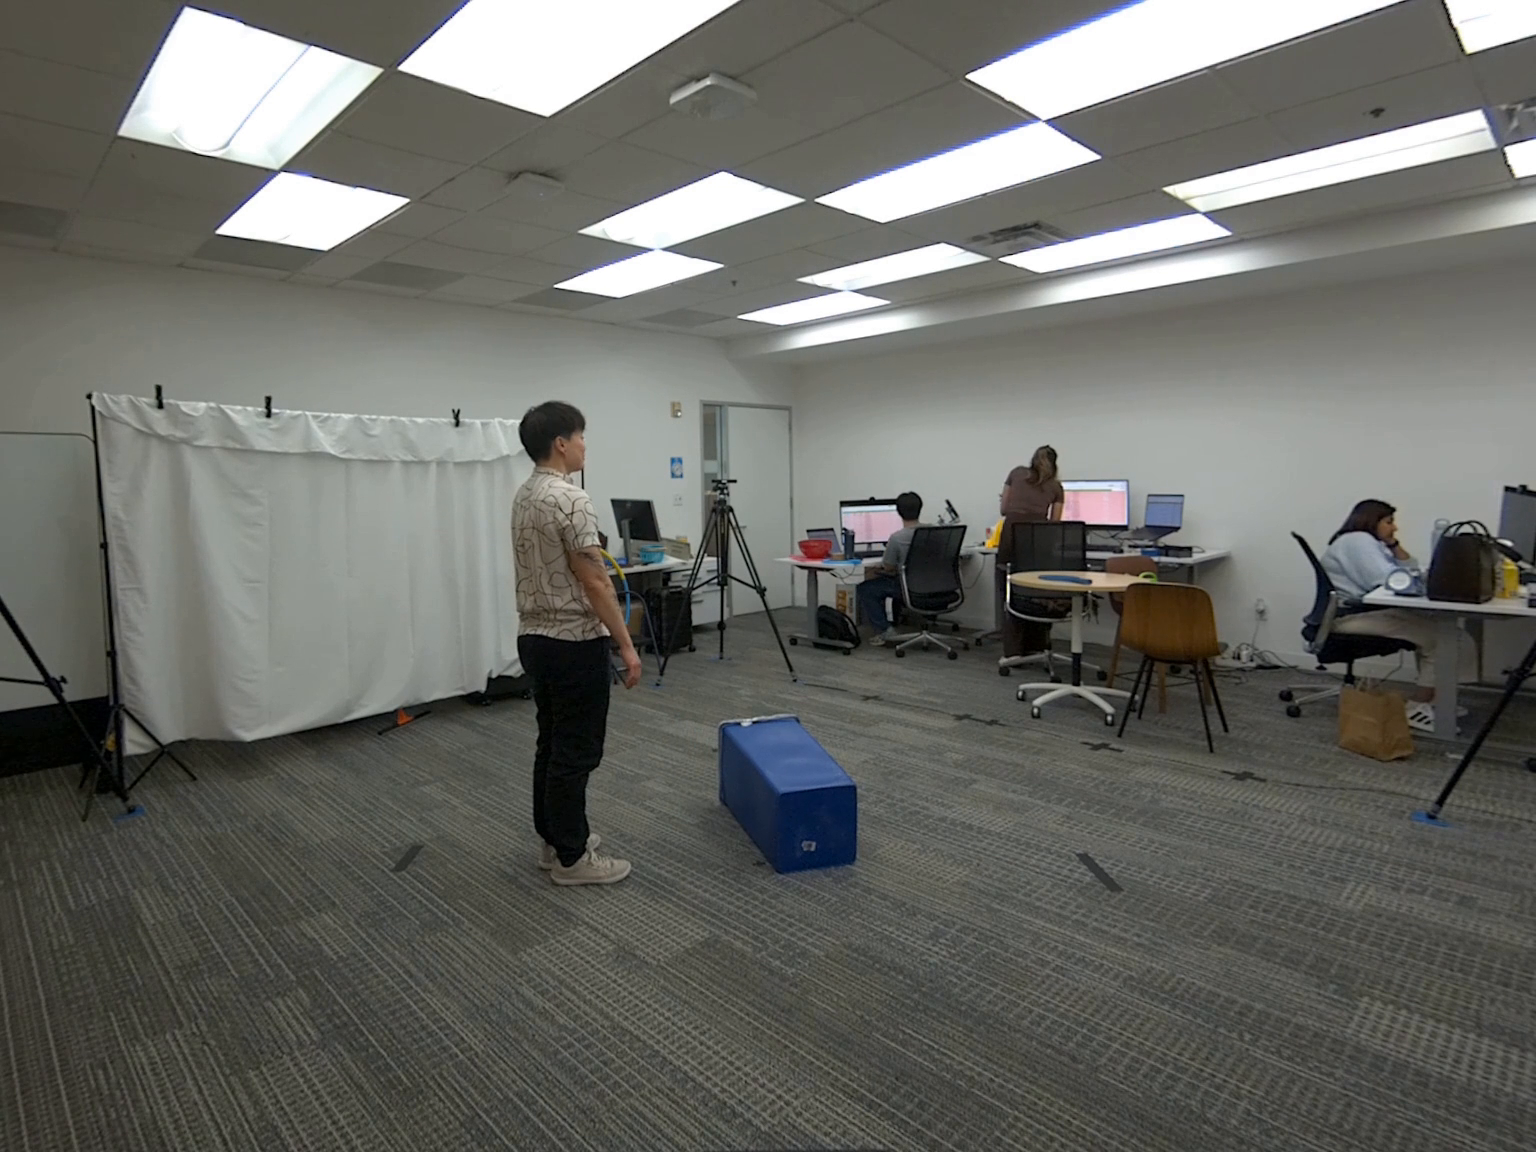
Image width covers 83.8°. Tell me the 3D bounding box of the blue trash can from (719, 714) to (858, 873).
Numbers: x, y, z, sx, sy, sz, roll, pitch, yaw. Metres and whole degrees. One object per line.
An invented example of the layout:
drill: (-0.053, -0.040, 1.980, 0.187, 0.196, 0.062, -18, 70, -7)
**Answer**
blue trash can: (0.061, 0.846, 3.380, 0.373, 0.371, 0.729, -3, 9, -16)
